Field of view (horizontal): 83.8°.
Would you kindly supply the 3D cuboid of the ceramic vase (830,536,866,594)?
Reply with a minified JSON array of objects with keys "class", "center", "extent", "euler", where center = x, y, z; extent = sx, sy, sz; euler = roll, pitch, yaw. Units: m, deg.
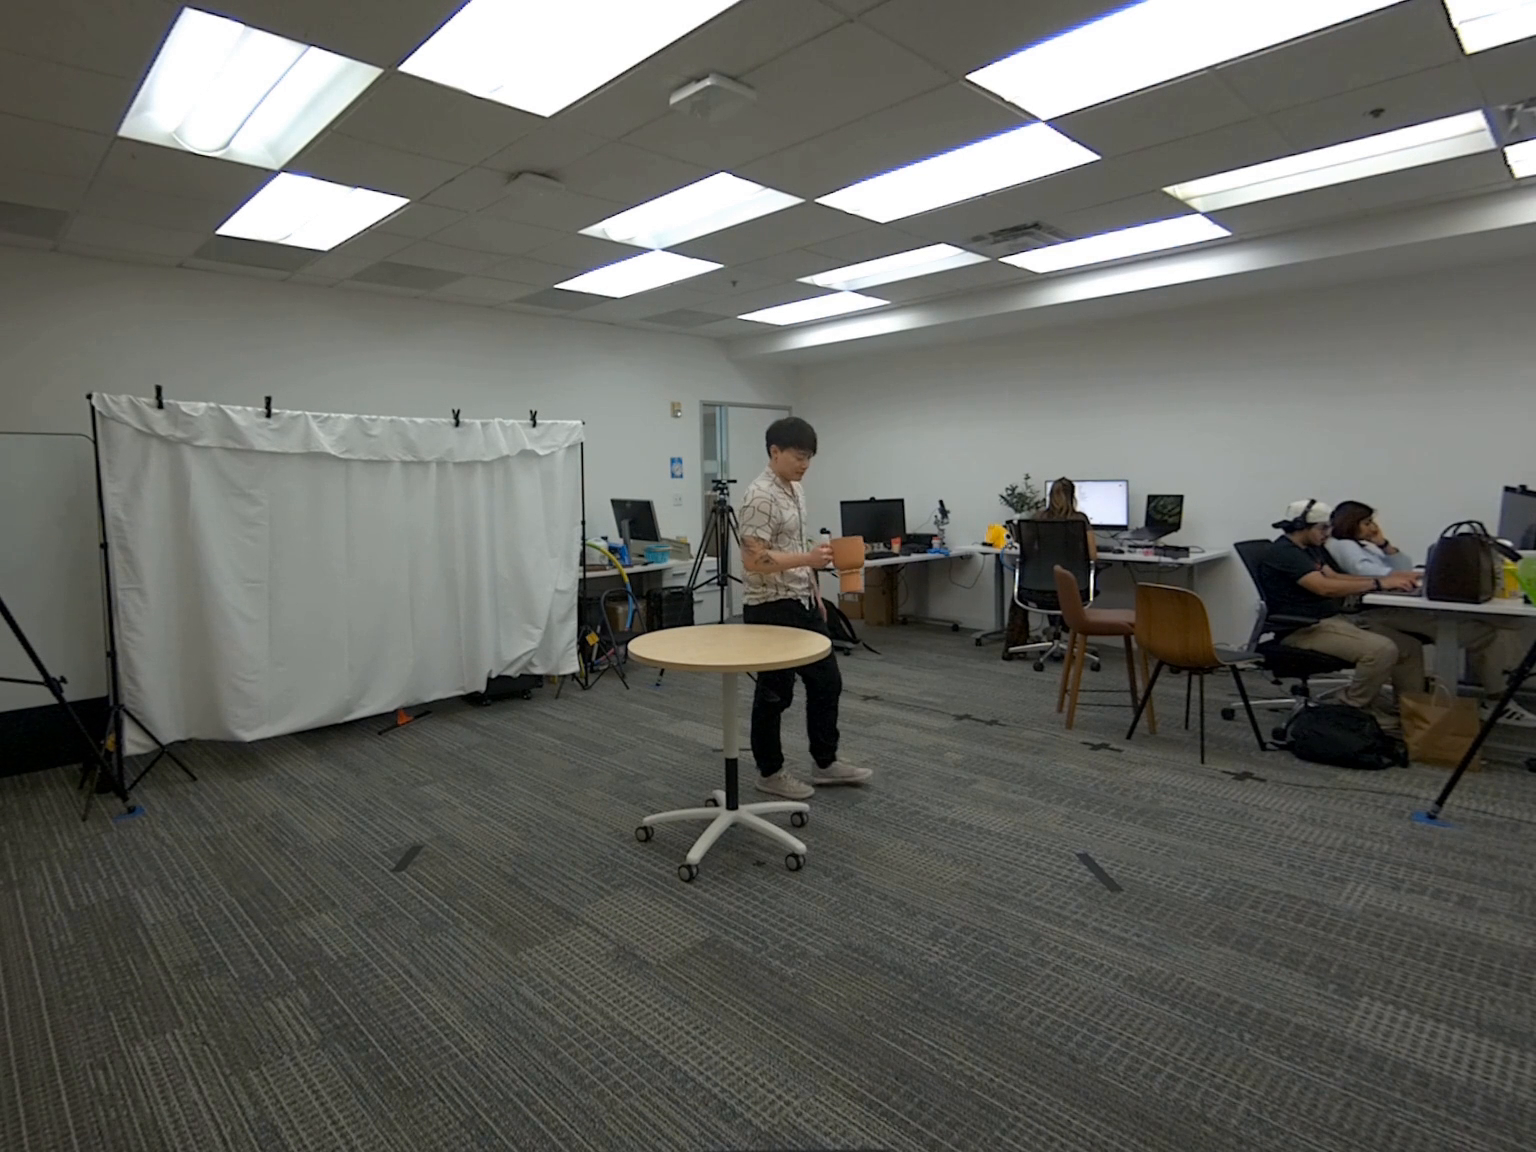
[{"class":"ceramic vase","center":[0.329,-0.047,3.490],"extent":[0.162,0.220,0.132],"euler":[-5,-2,24]}]
